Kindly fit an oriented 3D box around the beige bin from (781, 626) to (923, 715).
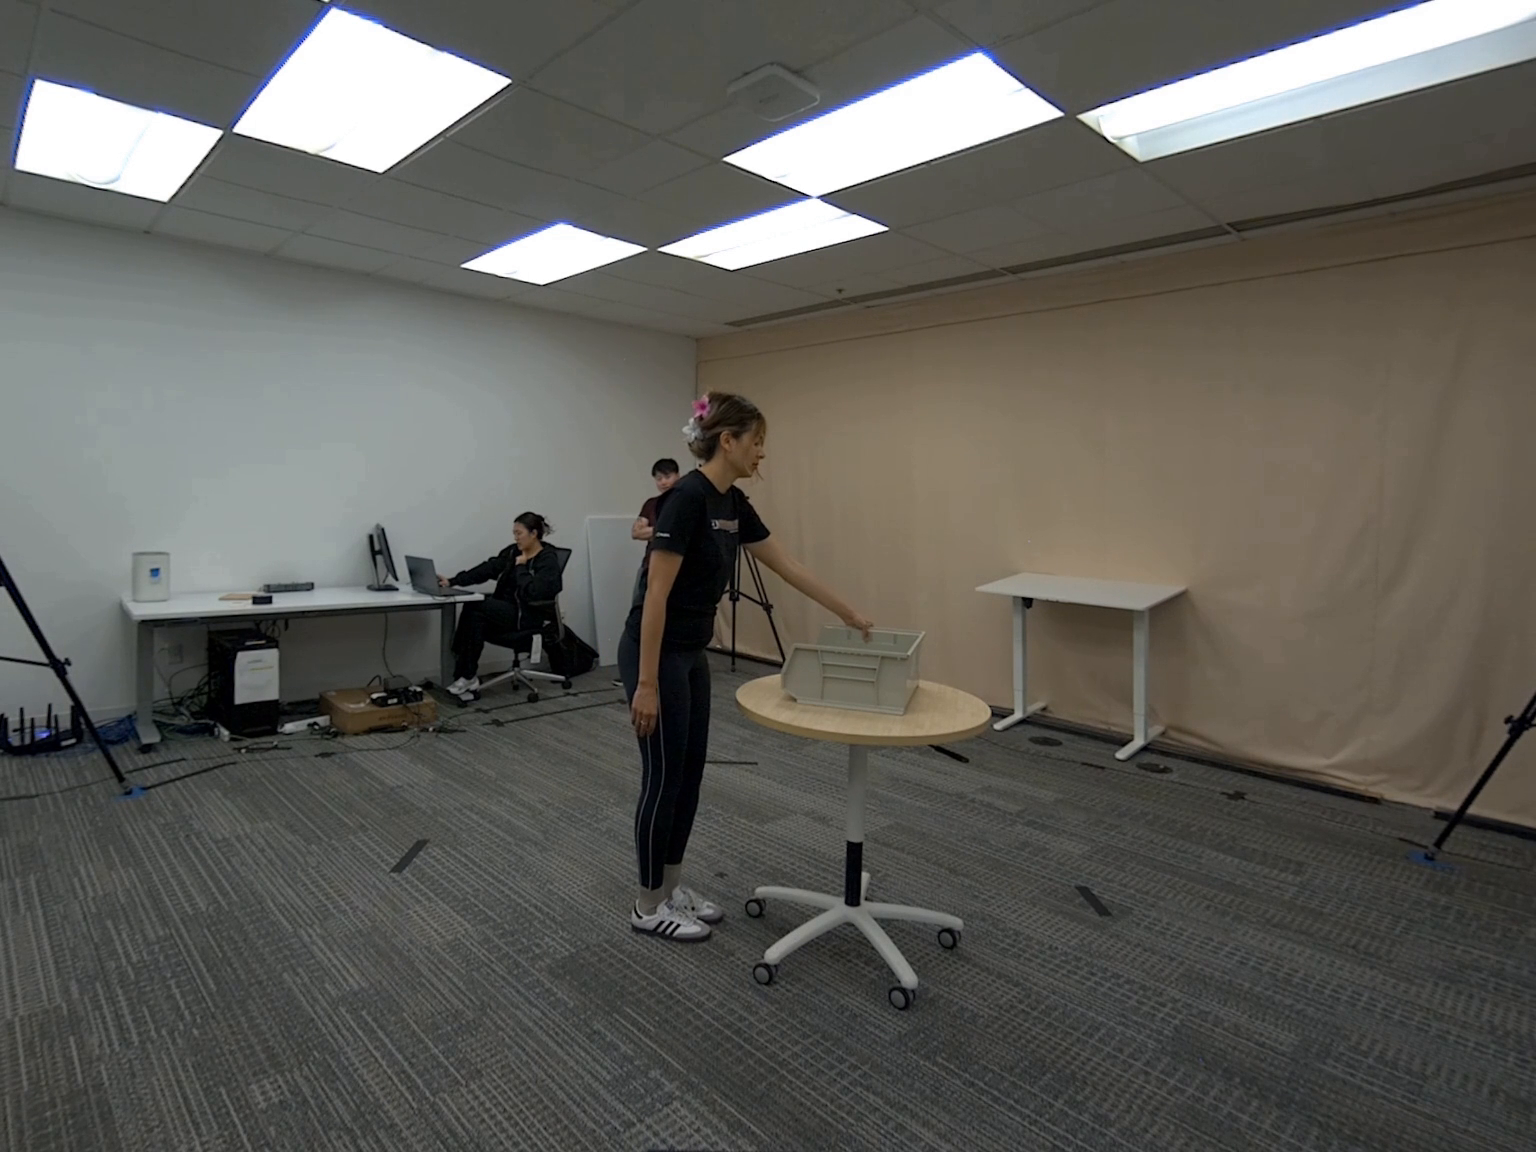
[{"bbox_3d":[0.269,0.280,2.636,0.383,0.188,0.417,5,6,17],"label":"beige bin"}]
